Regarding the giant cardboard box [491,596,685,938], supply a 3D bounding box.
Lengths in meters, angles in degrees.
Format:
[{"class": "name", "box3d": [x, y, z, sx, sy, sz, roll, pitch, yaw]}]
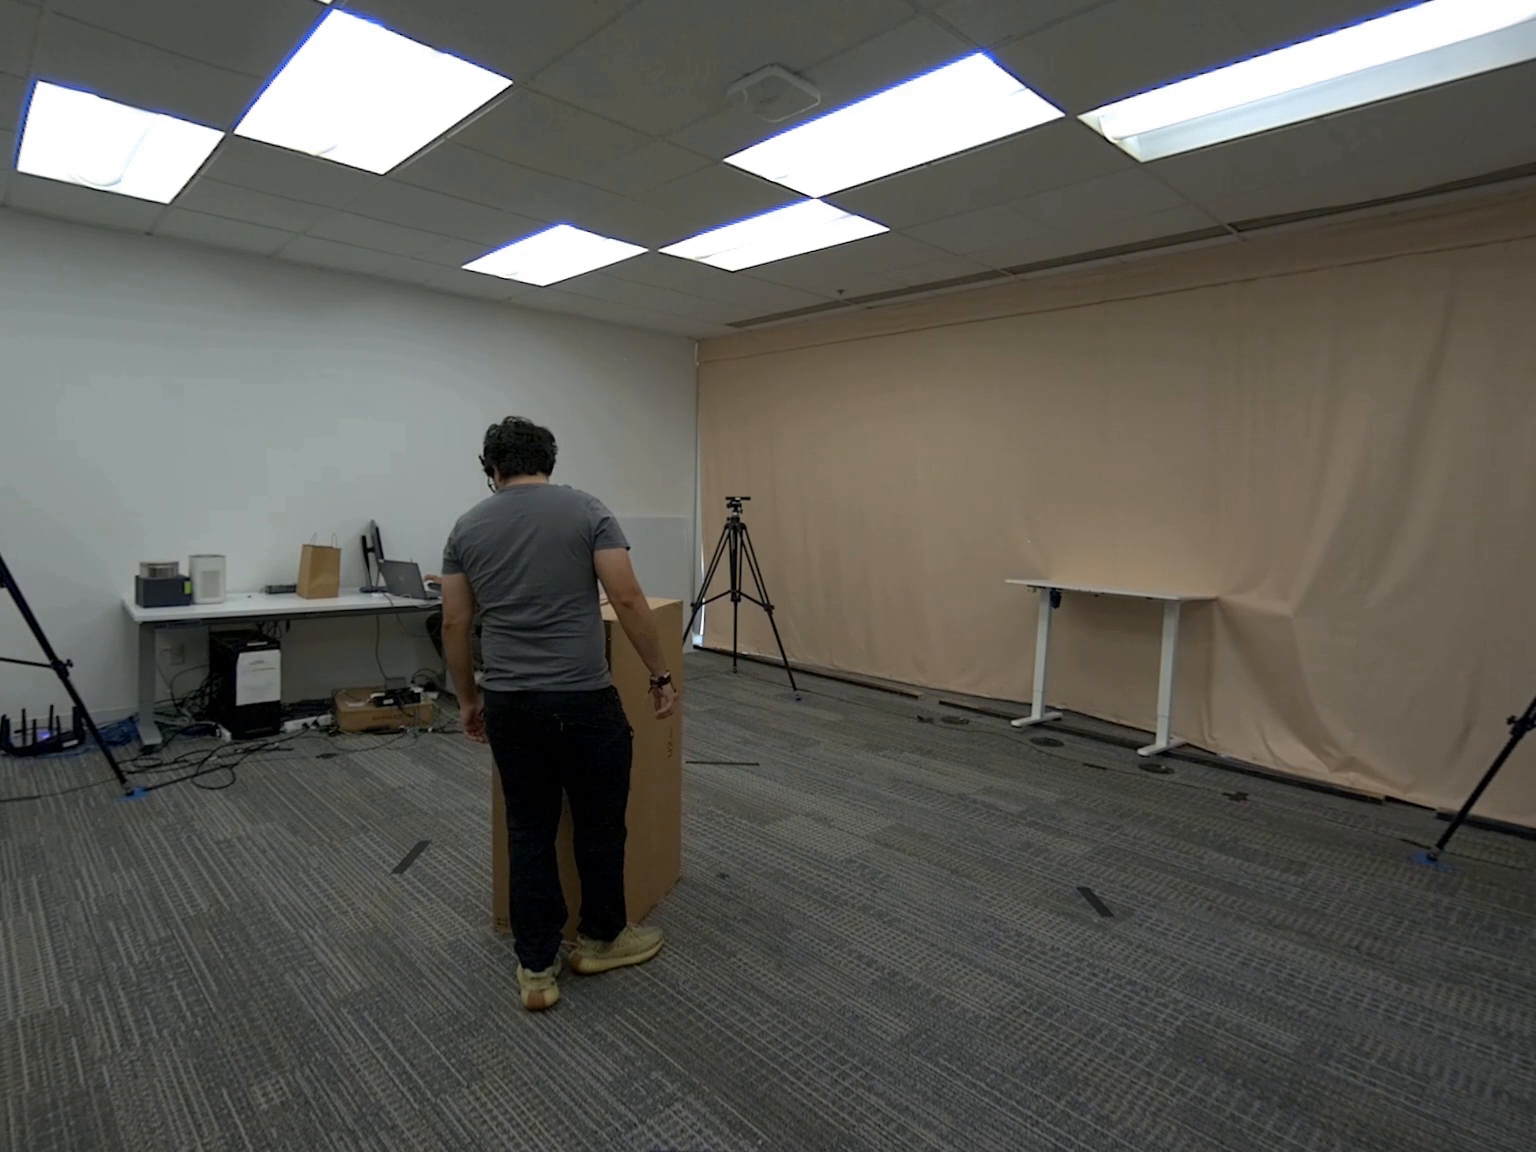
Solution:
[{"class": "giant cardboard box", "box3d": [-0.598, 0.614, 2.861, 0.453, 1.024, 0.577, 3, 4, 17]}]
